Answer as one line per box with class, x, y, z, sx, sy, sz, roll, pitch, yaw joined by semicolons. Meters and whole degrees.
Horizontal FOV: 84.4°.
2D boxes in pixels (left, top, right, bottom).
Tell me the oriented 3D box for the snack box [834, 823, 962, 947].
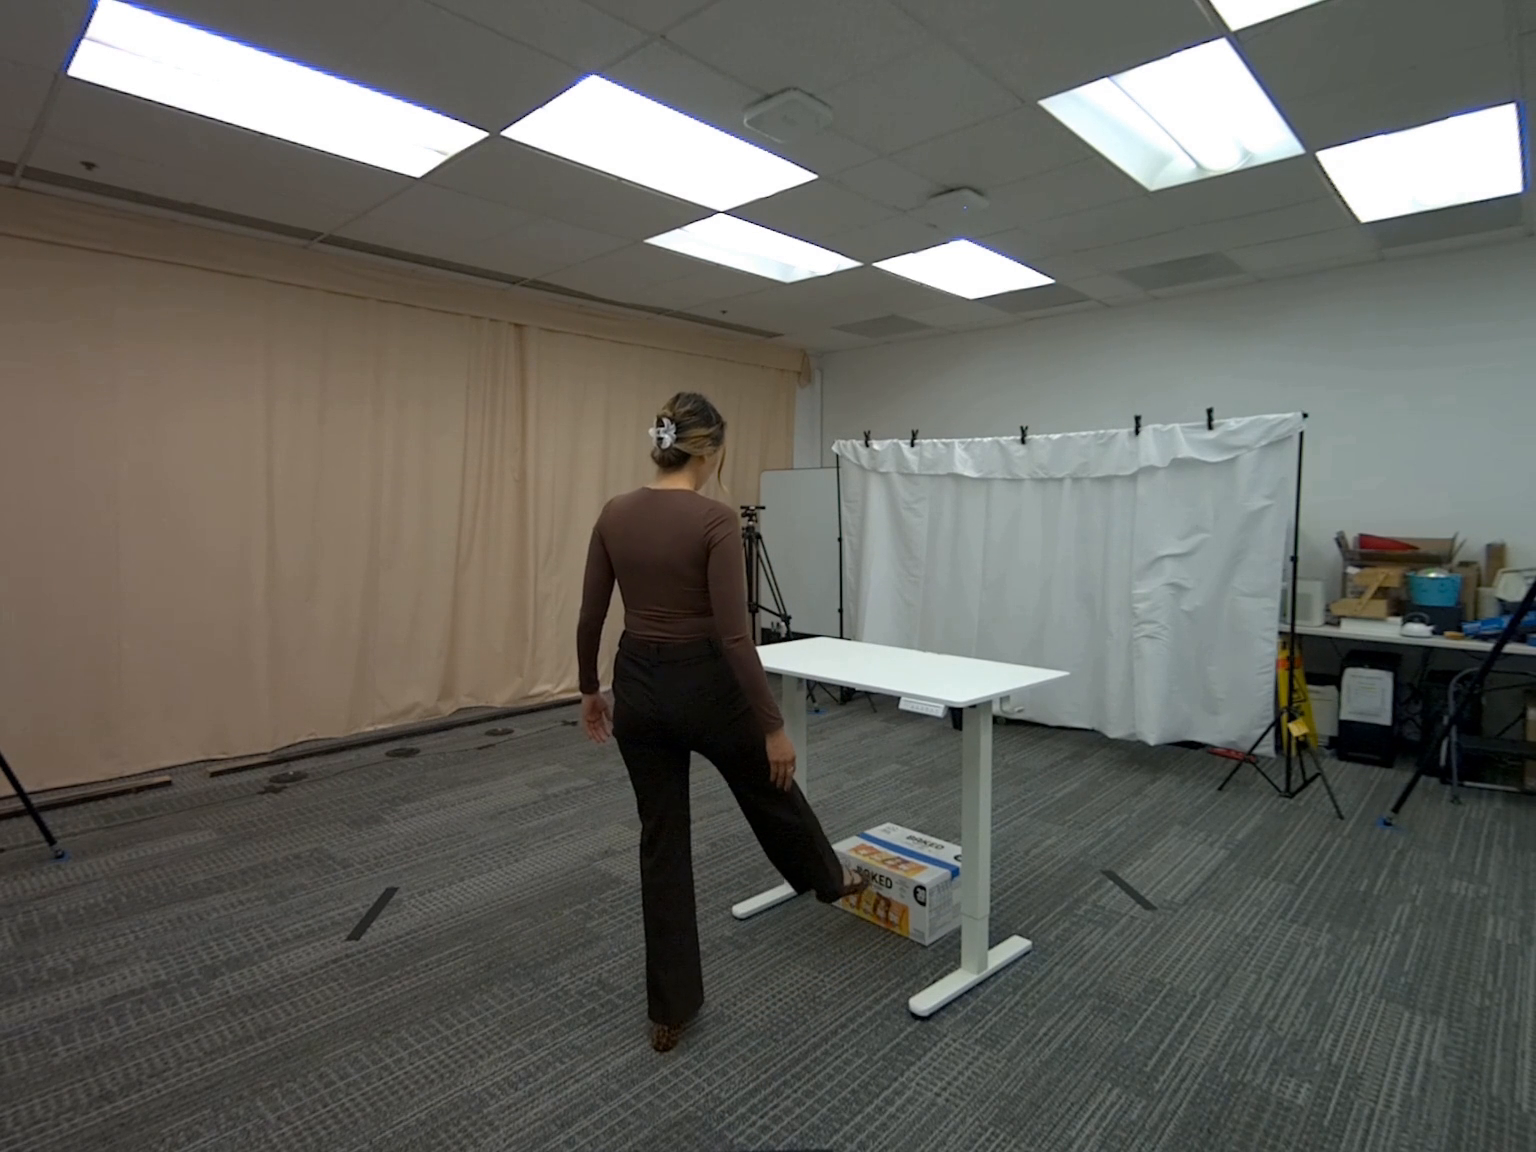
snack box;0.476;1.048;2.901;0.330;0.205;0.419;-5;6;-44
